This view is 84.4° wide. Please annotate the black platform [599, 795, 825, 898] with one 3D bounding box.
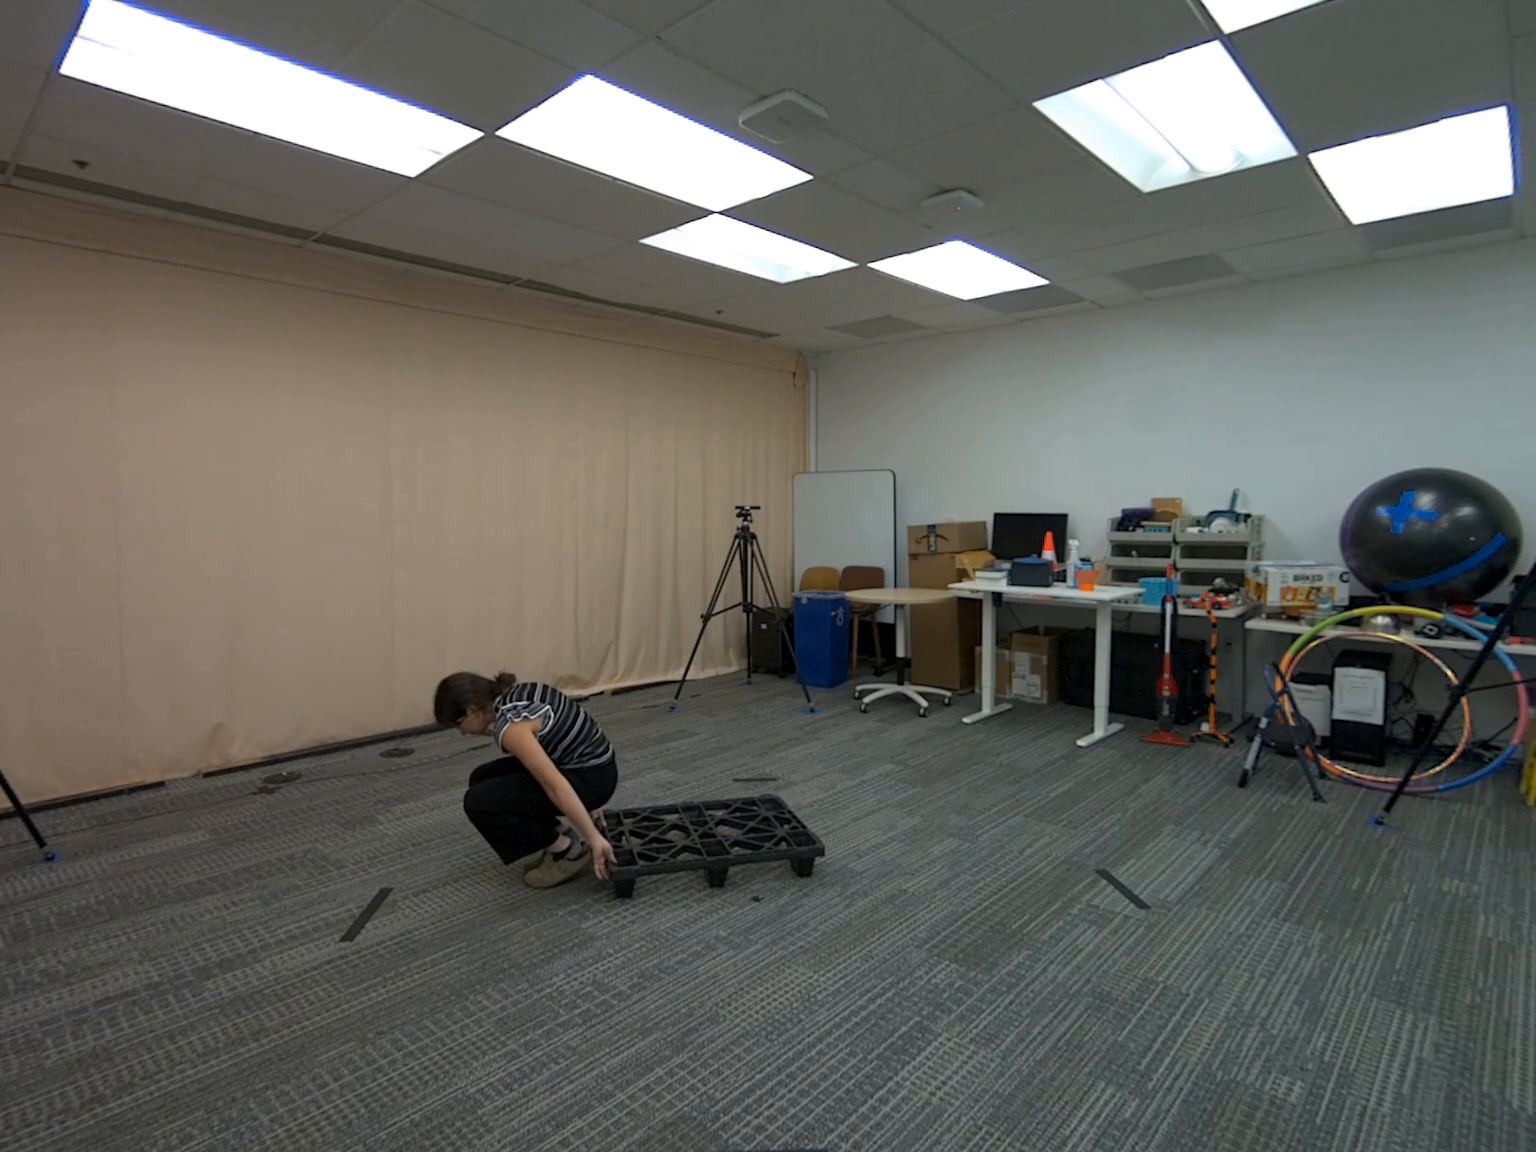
[{"bbox_3d":[-0.253,1.053,3.295,0.794,0.143,0.615,-2,4,-15],"label":"black platform"}]
